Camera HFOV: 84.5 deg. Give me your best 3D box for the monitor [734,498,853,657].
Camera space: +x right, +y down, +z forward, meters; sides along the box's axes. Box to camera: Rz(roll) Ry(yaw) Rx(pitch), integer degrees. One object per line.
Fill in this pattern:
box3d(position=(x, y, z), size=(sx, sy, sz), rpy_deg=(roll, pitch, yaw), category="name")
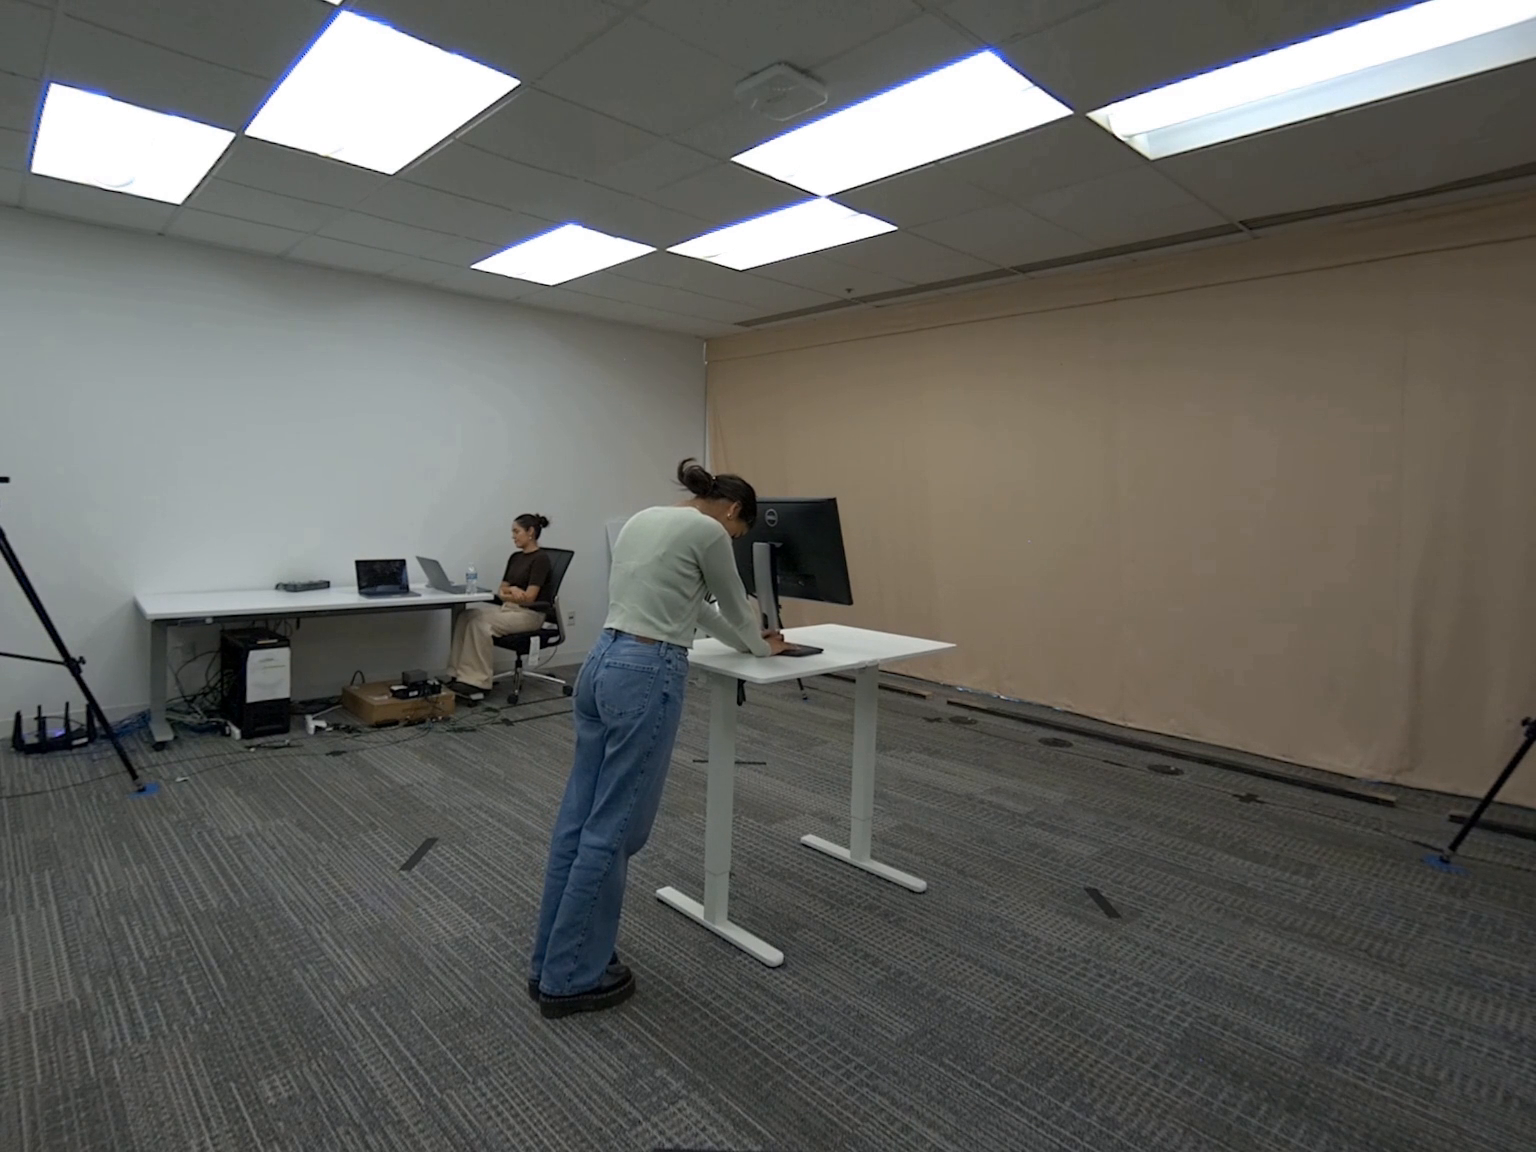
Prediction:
box3d(position=(0.029, -0.003, 2.818), size=(0.183, 0.521, 0.553), rpy_deg=(-2, 5, -43), category="monitor")
